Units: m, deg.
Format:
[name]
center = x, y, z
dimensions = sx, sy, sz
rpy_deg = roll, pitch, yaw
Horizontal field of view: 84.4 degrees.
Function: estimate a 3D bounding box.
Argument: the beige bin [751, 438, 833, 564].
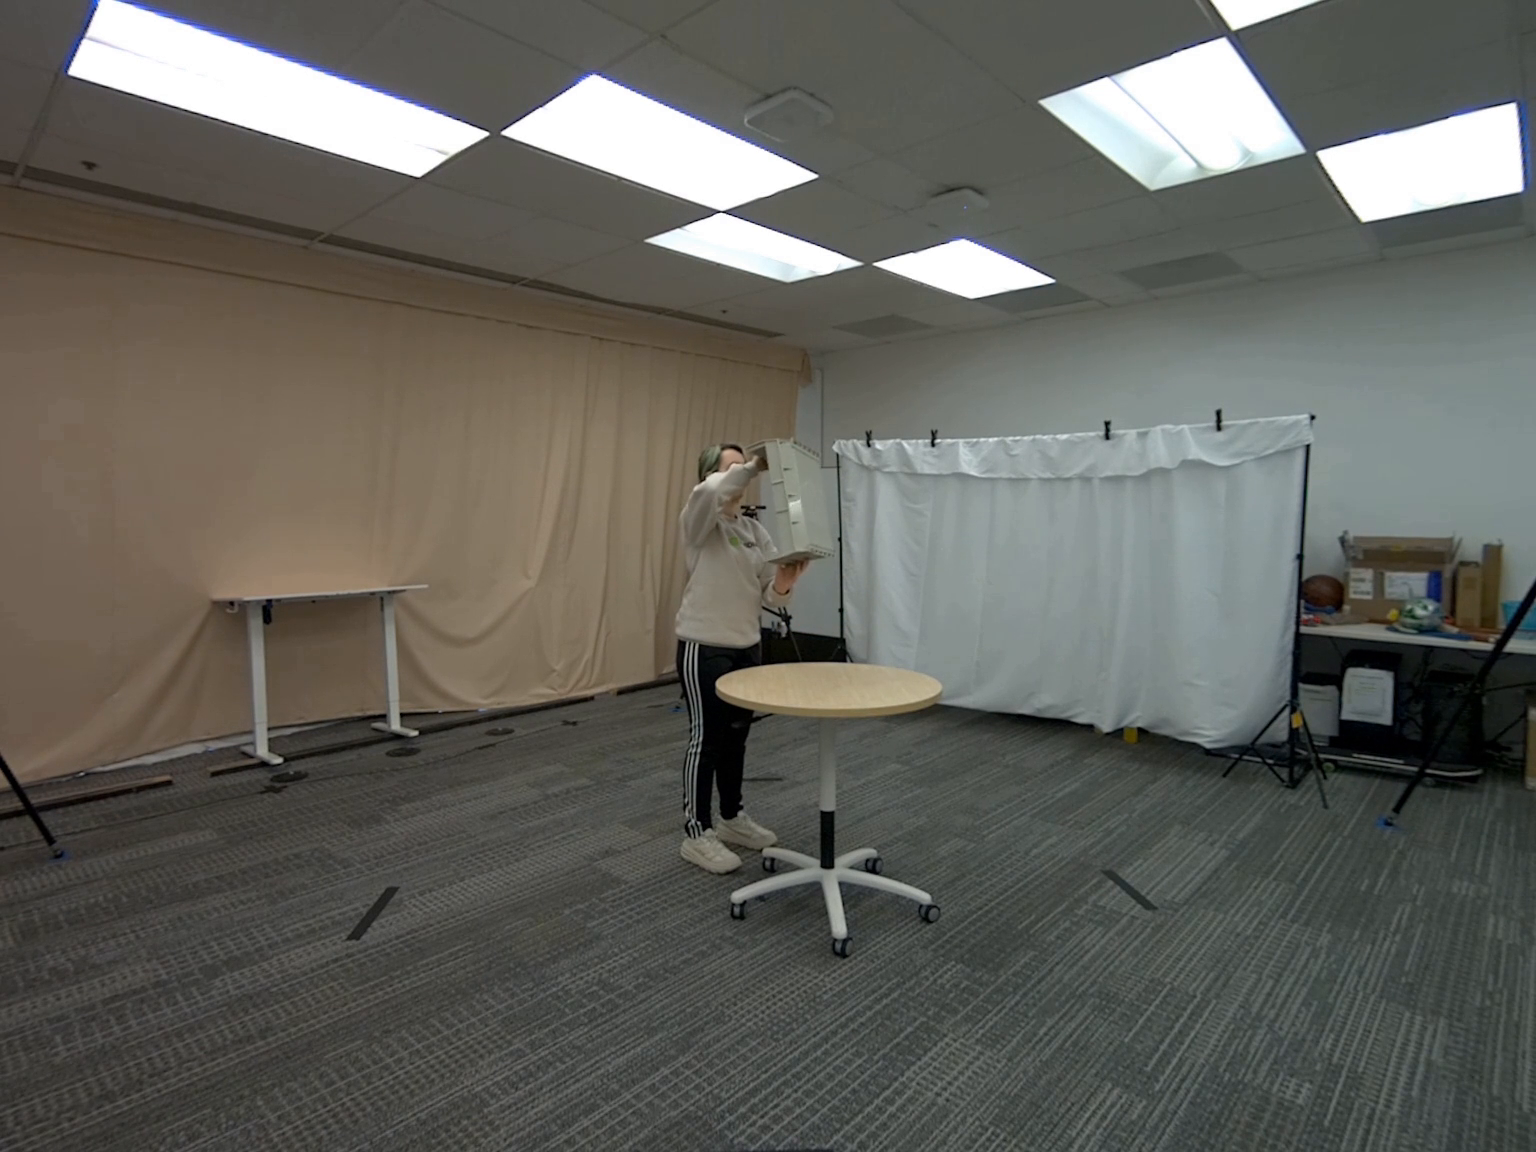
[beige bin]
center = 0.065, -0.259, 3.081
dimensions = 0.192, 0.425, 0.368
rpy_deg = -11, -8, 20
